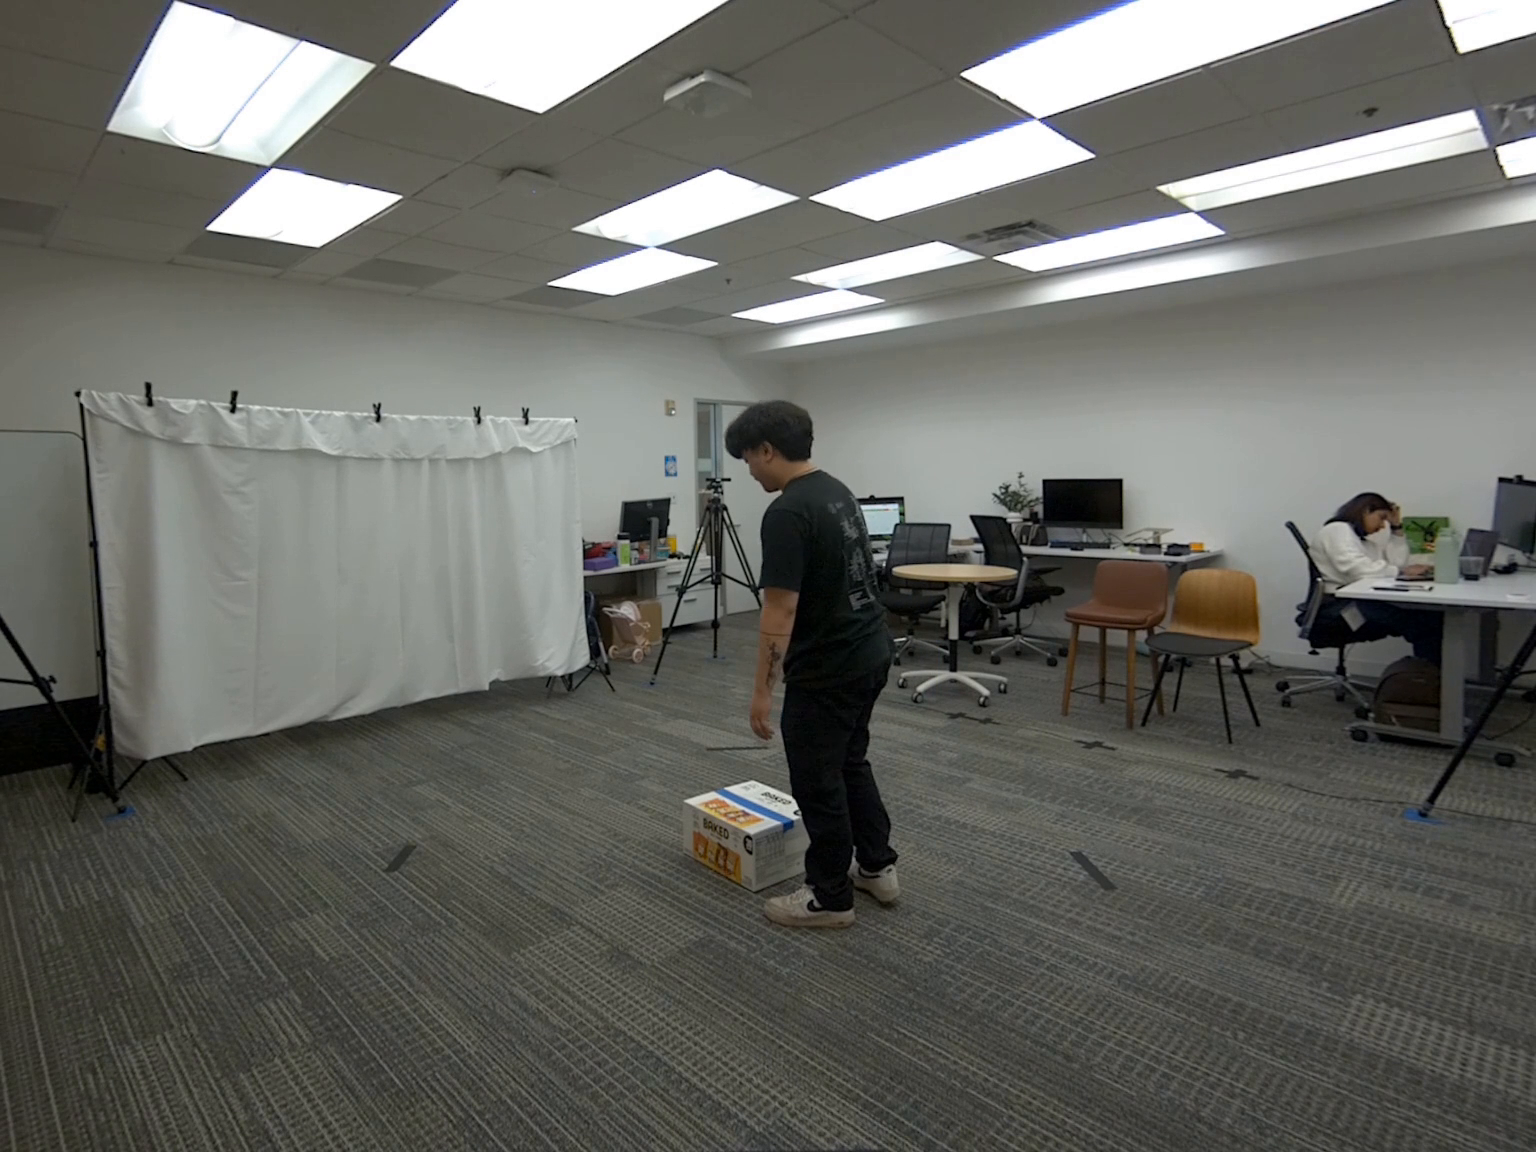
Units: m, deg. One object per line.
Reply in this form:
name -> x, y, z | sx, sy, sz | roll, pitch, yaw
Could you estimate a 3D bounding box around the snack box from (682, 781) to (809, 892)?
snack box -> -0.054, 0.940, 3.127 | 0.331, 0.205, 0.418 | -6, 8, -39
